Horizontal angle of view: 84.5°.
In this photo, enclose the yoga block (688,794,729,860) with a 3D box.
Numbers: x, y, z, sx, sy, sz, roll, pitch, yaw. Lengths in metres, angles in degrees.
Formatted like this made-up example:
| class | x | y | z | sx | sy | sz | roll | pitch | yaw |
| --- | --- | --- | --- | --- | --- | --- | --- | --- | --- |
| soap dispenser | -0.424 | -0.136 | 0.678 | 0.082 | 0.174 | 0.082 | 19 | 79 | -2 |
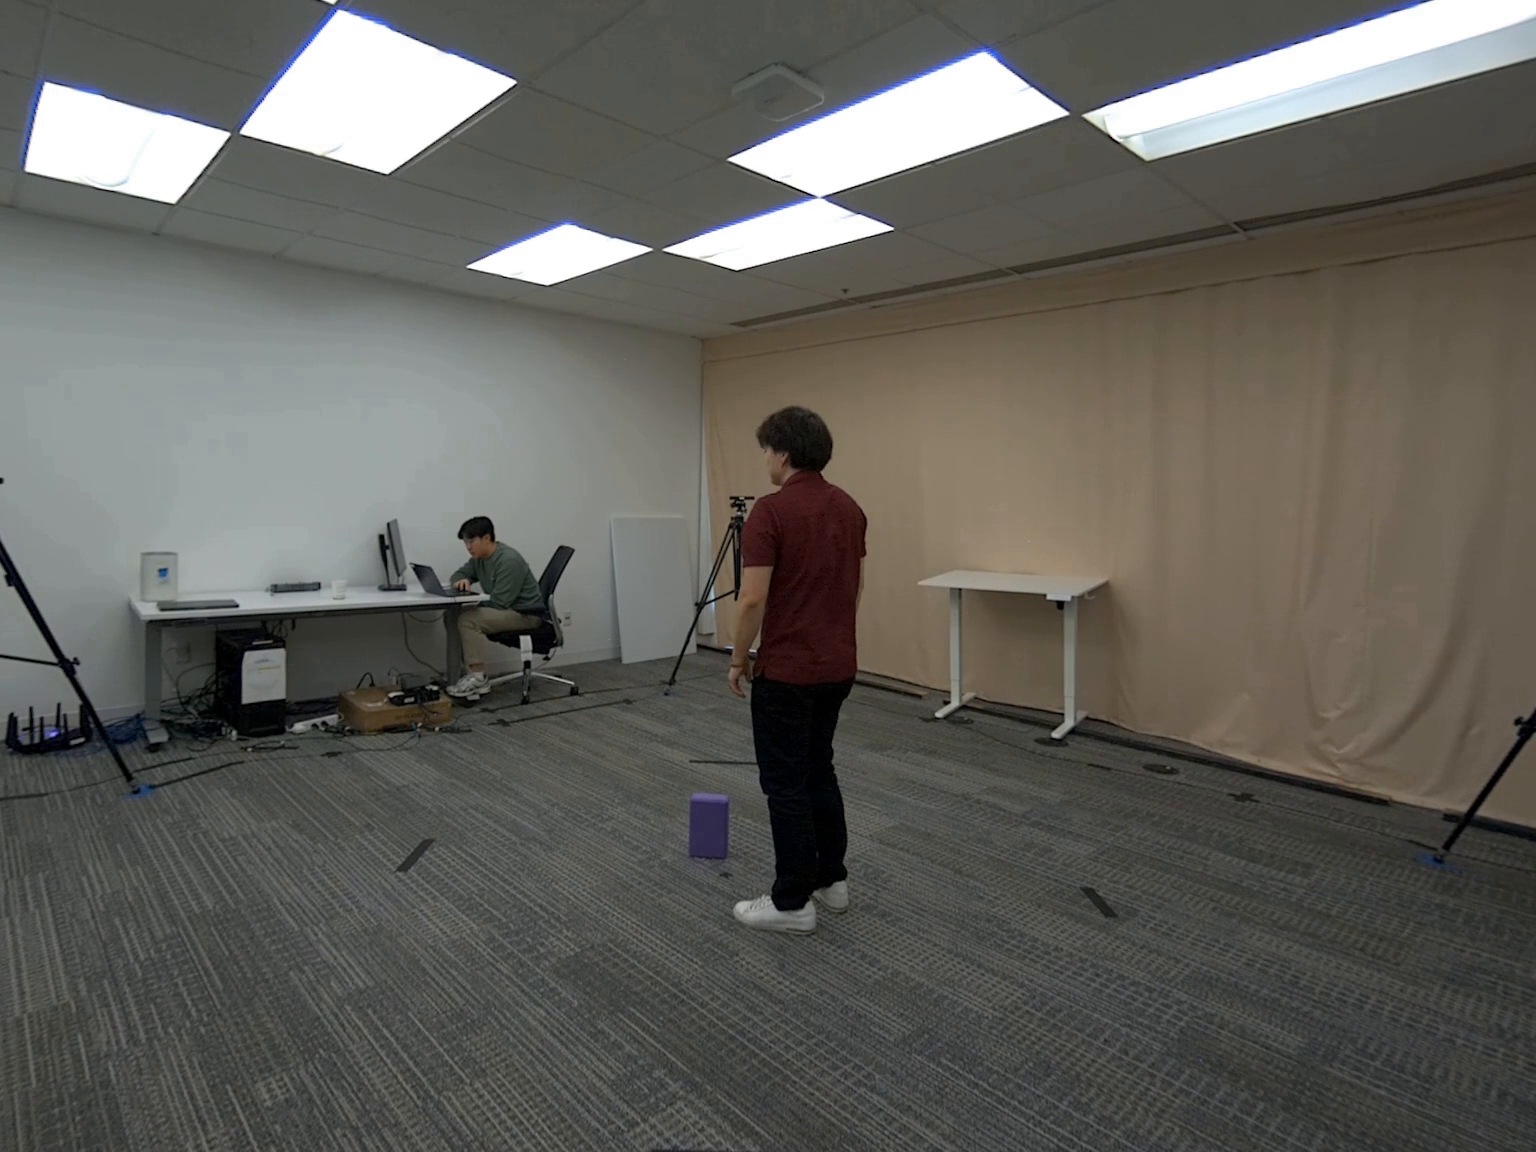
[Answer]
| class | x | y | z | sx | sy | sz | roll | pitch | yaw |
| --- | --- | --- | --- | --- | --- | --- | --- | --- | --- |
| yoga block | -0.237 | 0.974 | 3.271 | 0.150 | 0.228 | 0.076 | 2 | 4 | 7 |
